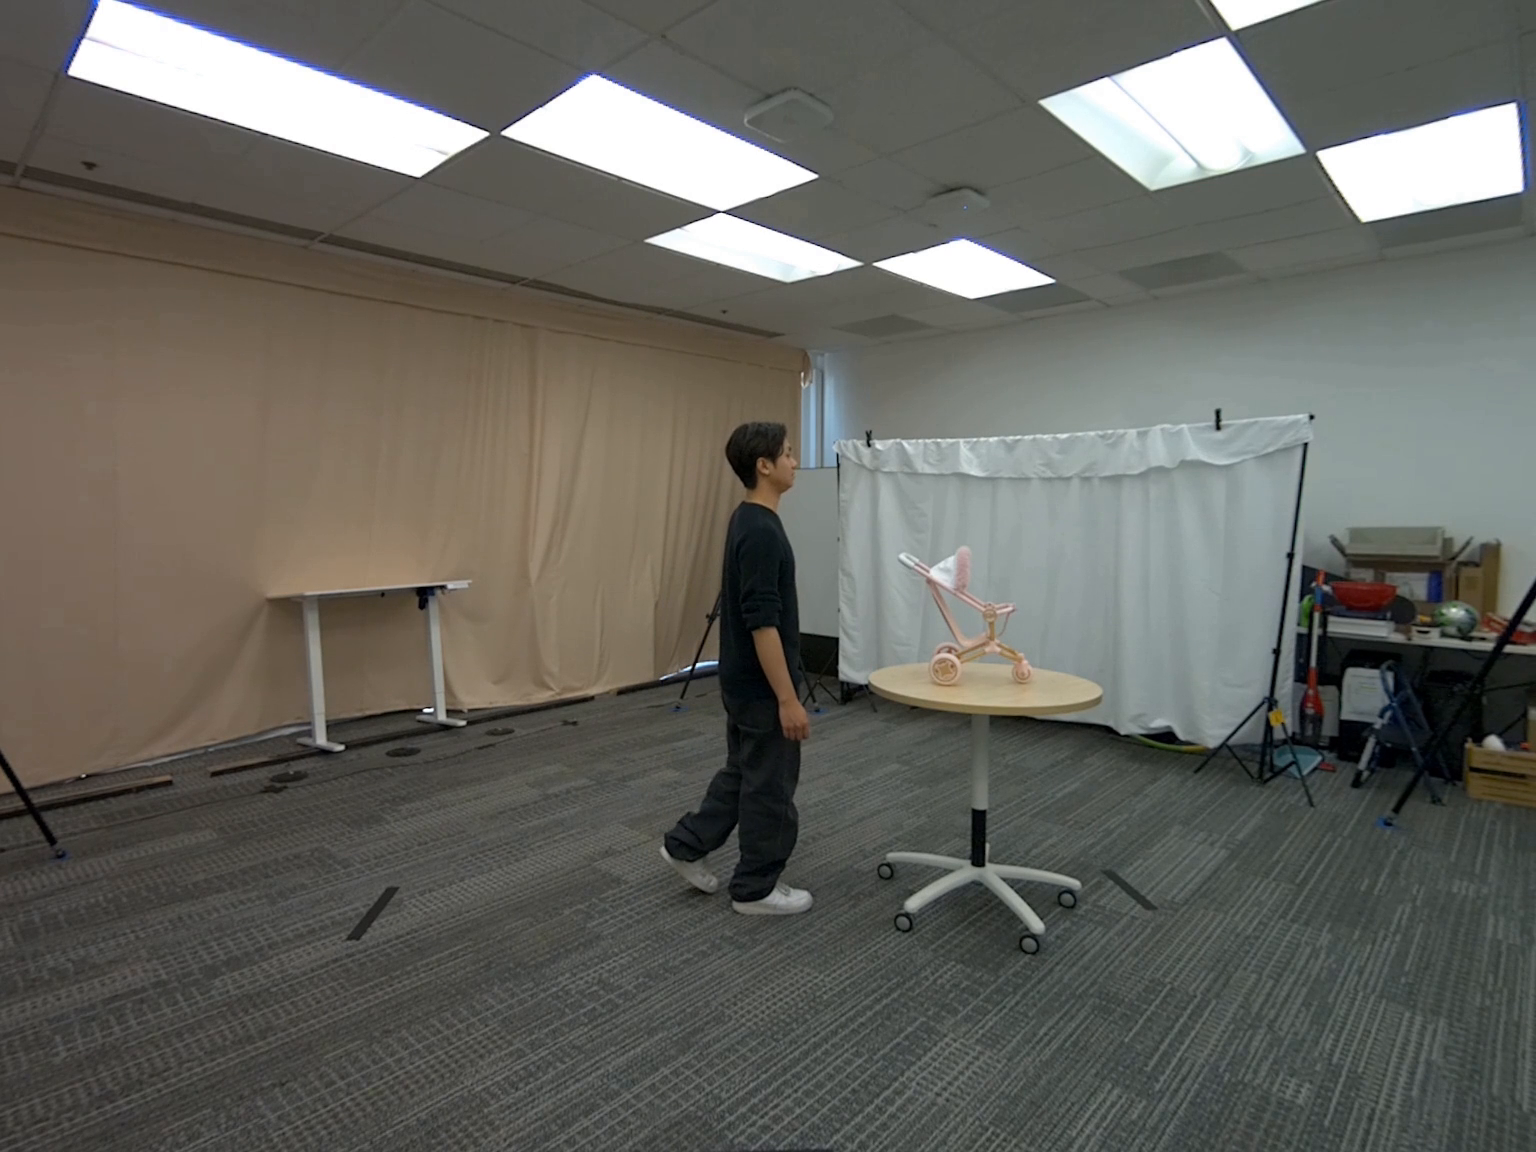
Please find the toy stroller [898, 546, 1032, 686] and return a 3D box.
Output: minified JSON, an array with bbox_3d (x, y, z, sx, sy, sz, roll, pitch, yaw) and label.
[{"bbox_3d":[0.701,0.142,2.918,0.347,0.536,0.276,-15,-3,20],"label":"toy stroller"}]
